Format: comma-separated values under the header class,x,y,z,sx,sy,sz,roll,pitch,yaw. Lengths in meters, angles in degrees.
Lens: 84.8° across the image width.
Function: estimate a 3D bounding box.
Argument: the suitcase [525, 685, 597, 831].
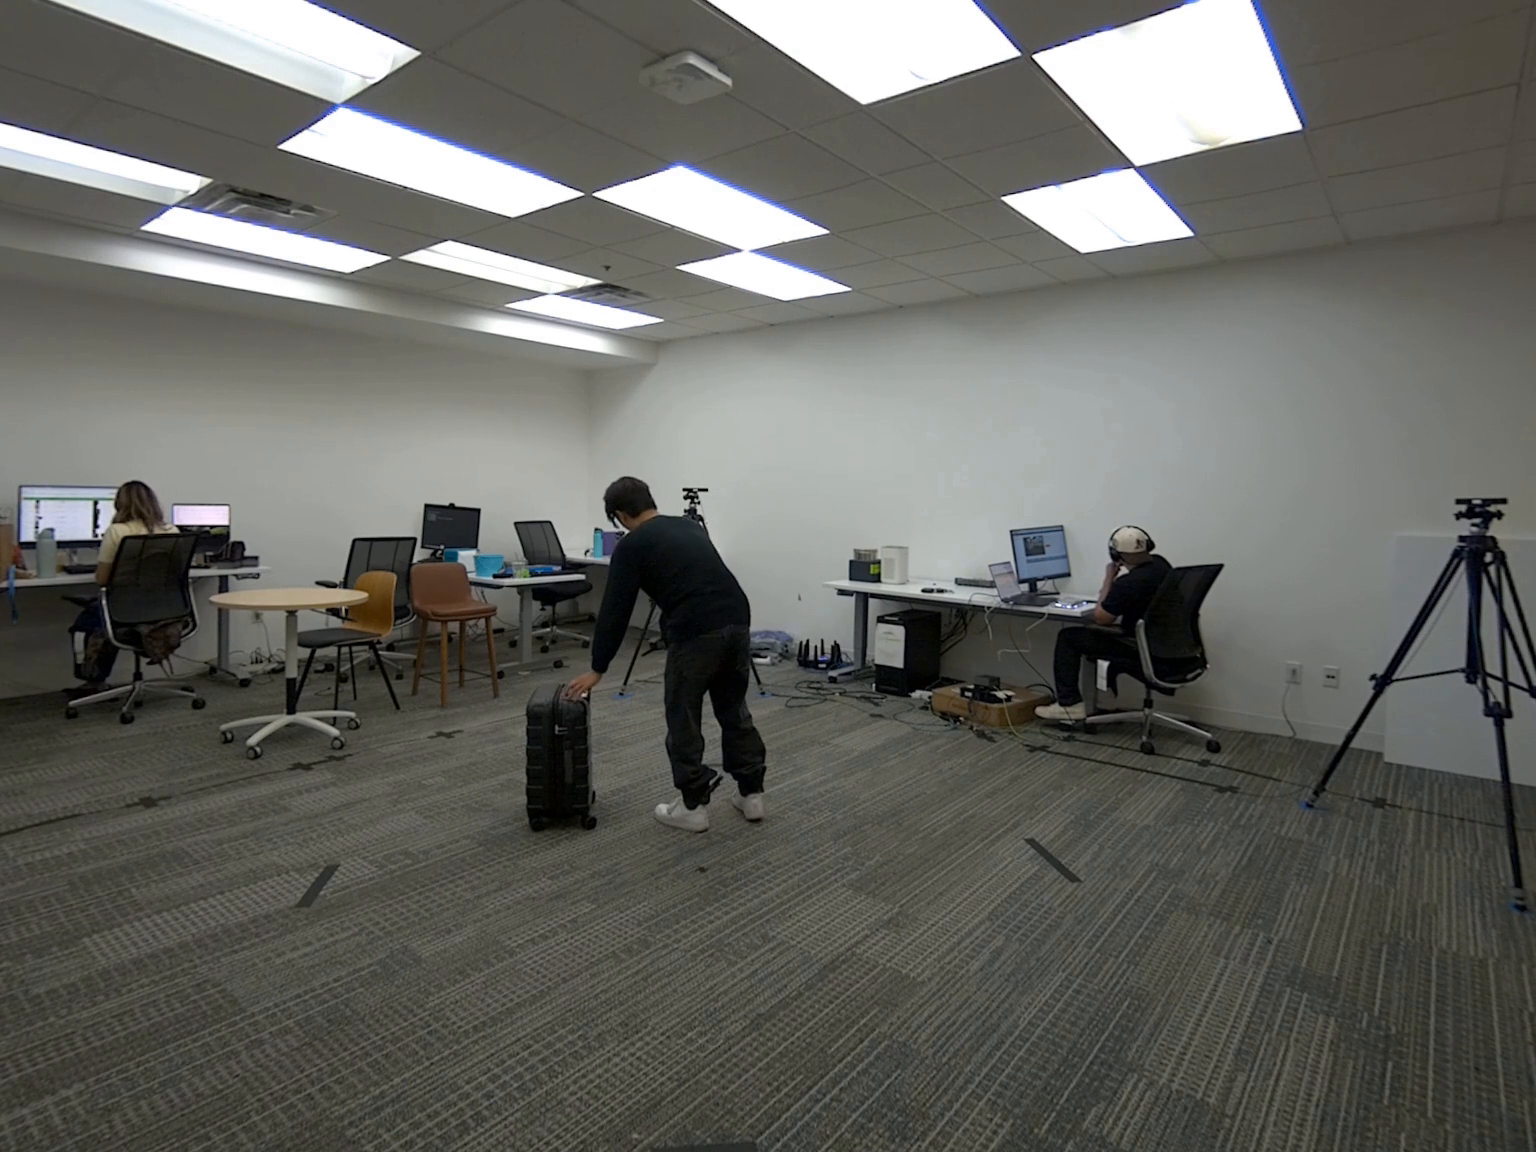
class,x,y,z,sx,sy,sz,roll,pitch,yaw
suitcase,-0.885,0.739,3.585,0.246,0.547,0.380,-1,4,-8
